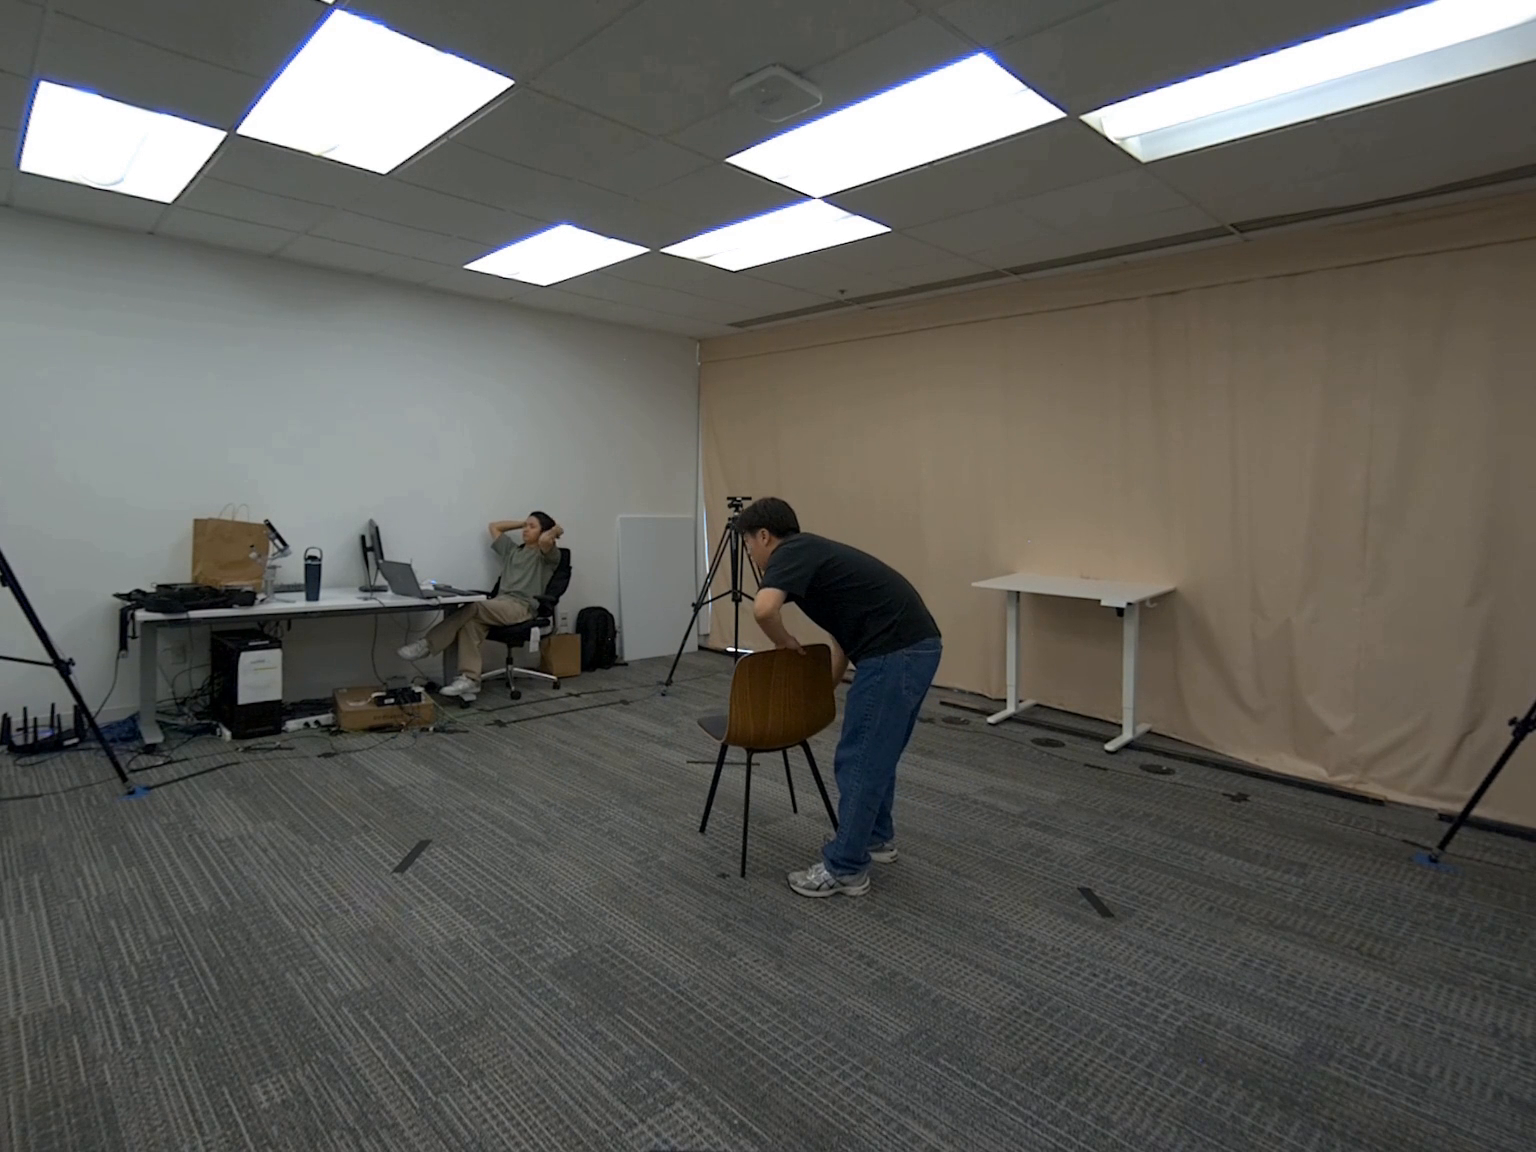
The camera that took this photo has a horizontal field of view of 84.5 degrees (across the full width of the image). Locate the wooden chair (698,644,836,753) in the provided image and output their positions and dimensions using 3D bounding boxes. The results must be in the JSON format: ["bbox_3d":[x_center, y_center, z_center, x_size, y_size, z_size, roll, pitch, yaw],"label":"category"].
[{"bbox_3d":[-0.018,0.645,3.339,0.470,0.871,0.535,-5,10,-24],"label":"wooden chair"}]
